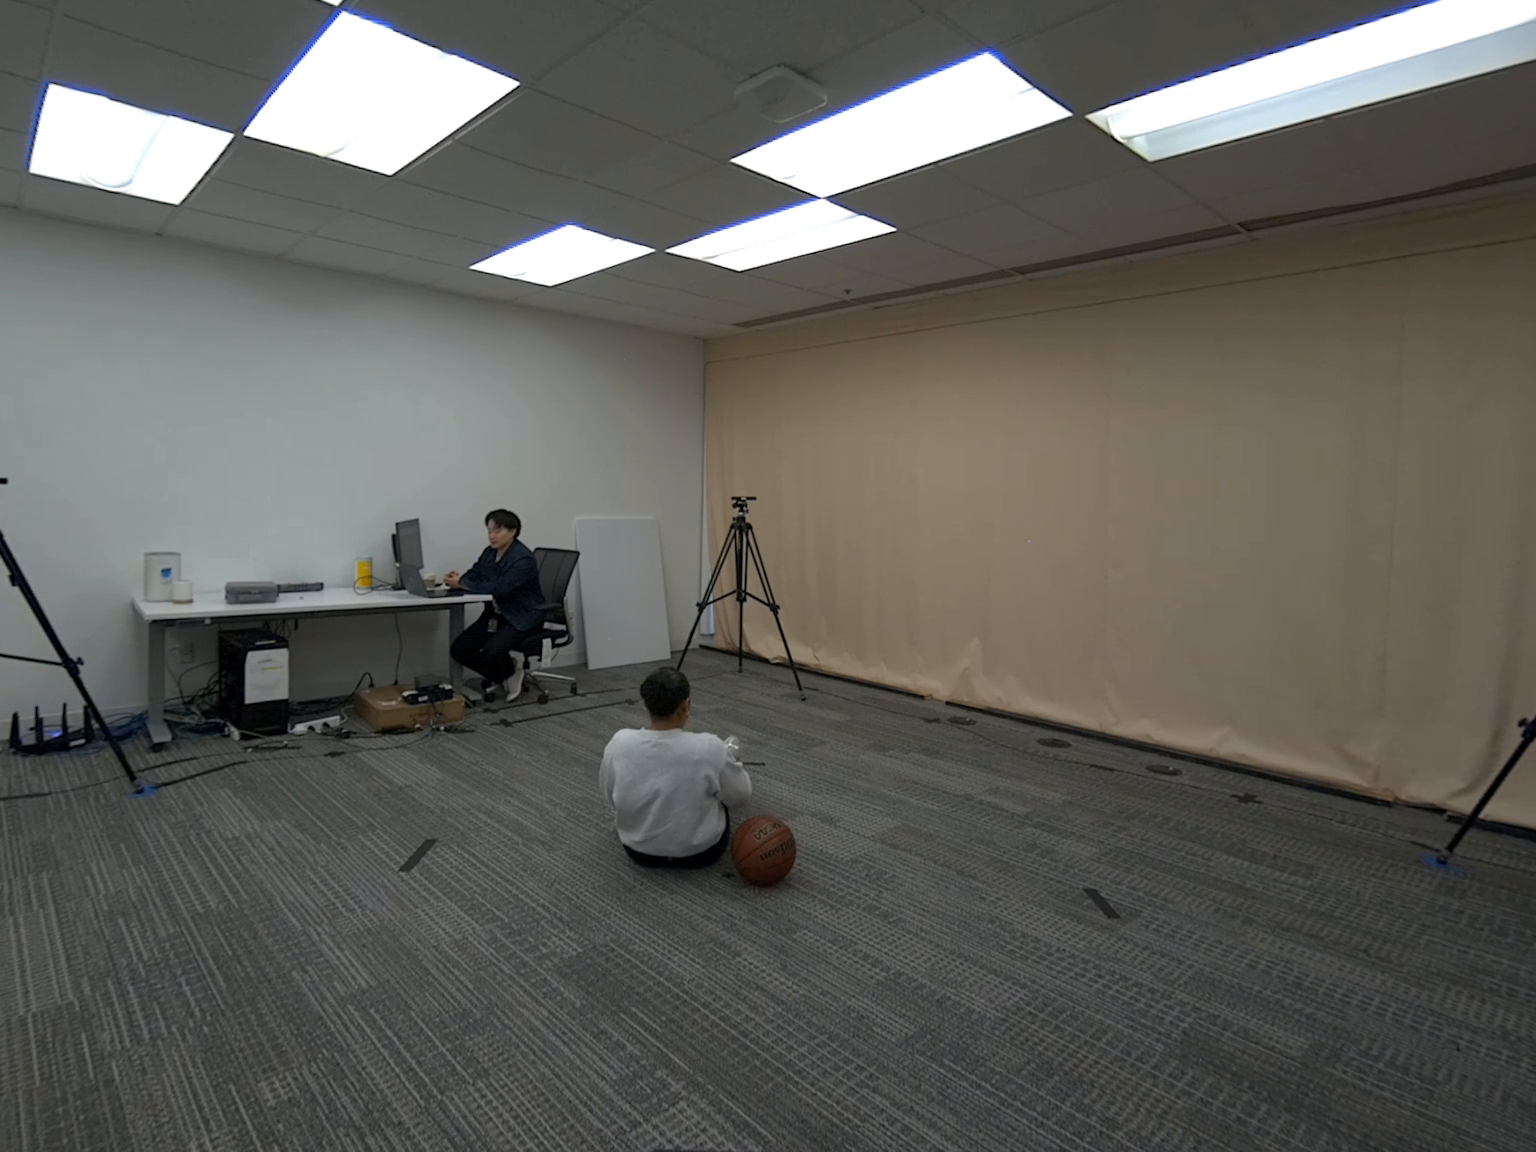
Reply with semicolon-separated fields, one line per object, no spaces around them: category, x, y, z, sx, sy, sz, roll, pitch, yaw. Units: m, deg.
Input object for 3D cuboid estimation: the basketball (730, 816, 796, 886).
basketball;-0.025;0.990;3.056;0.236;0.235;0.237;1;4;-1
